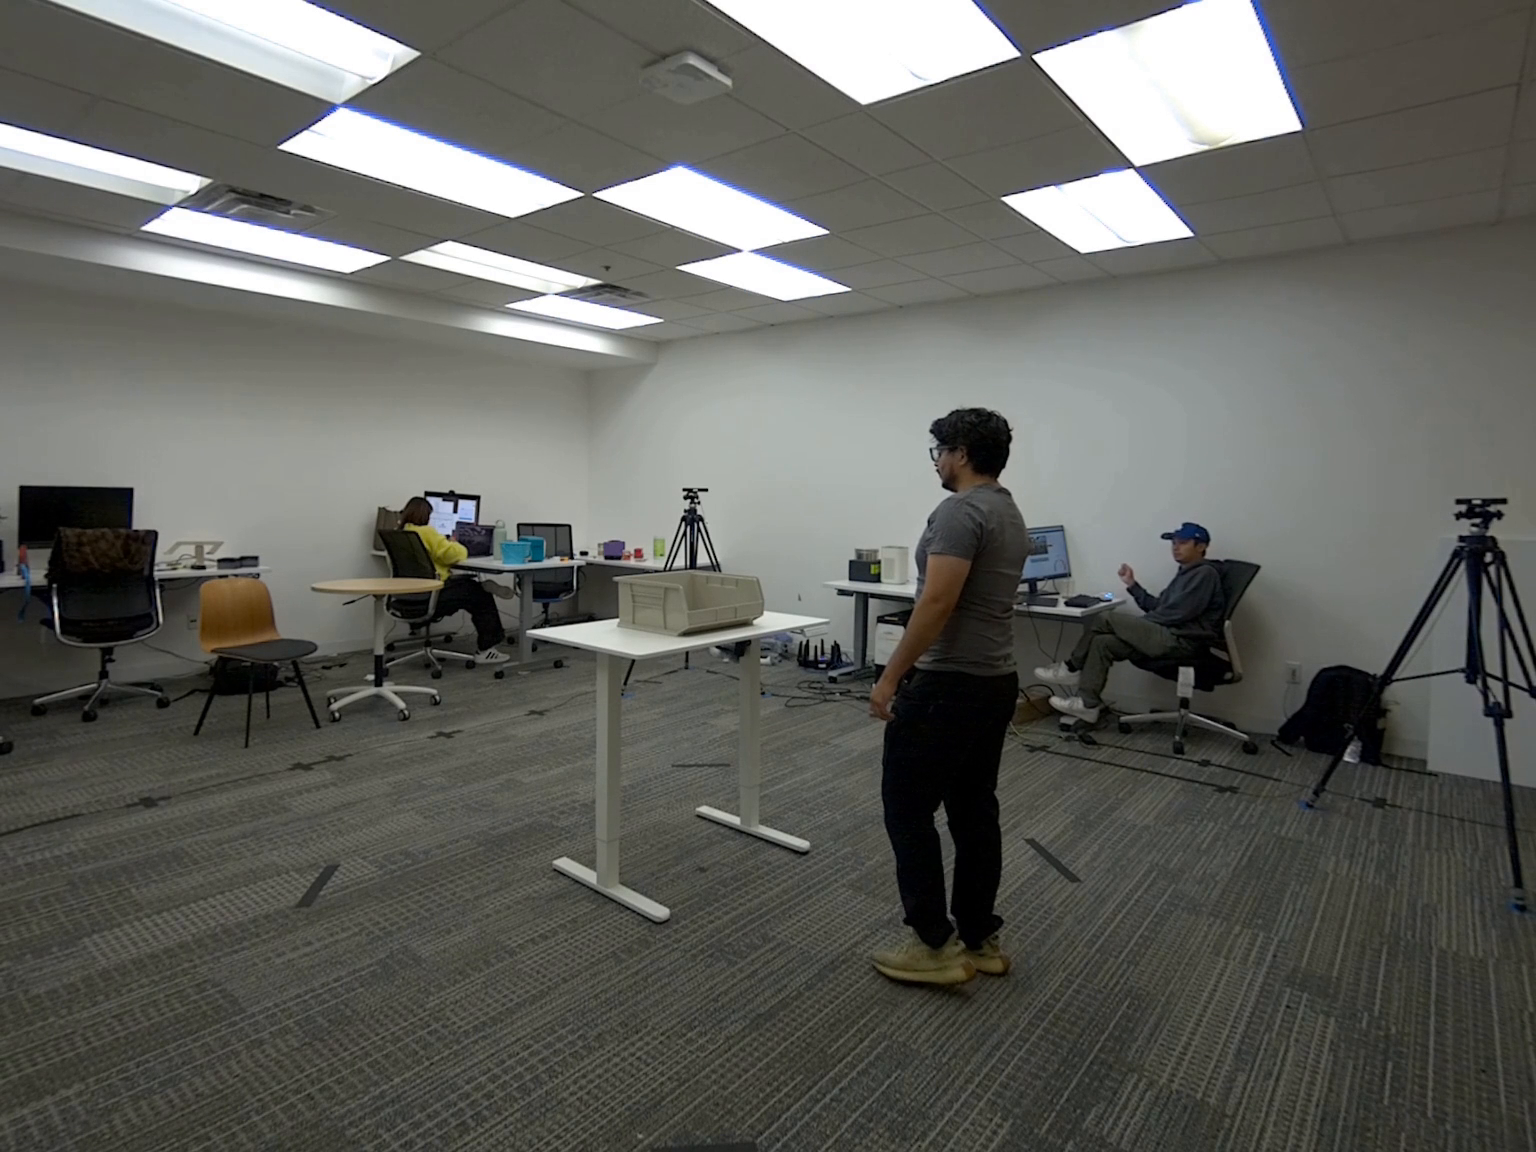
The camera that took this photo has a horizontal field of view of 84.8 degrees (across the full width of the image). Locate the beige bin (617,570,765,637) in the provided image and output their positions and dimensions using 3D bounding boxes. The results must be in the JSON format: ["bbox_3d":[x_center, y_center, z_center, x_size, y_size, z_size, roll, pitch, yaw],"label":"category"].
[{"bbox_3d":[-0.296,0.093,3.138,0.390,0.188,0.410,4,6,40],"label":"beige bin"}]
